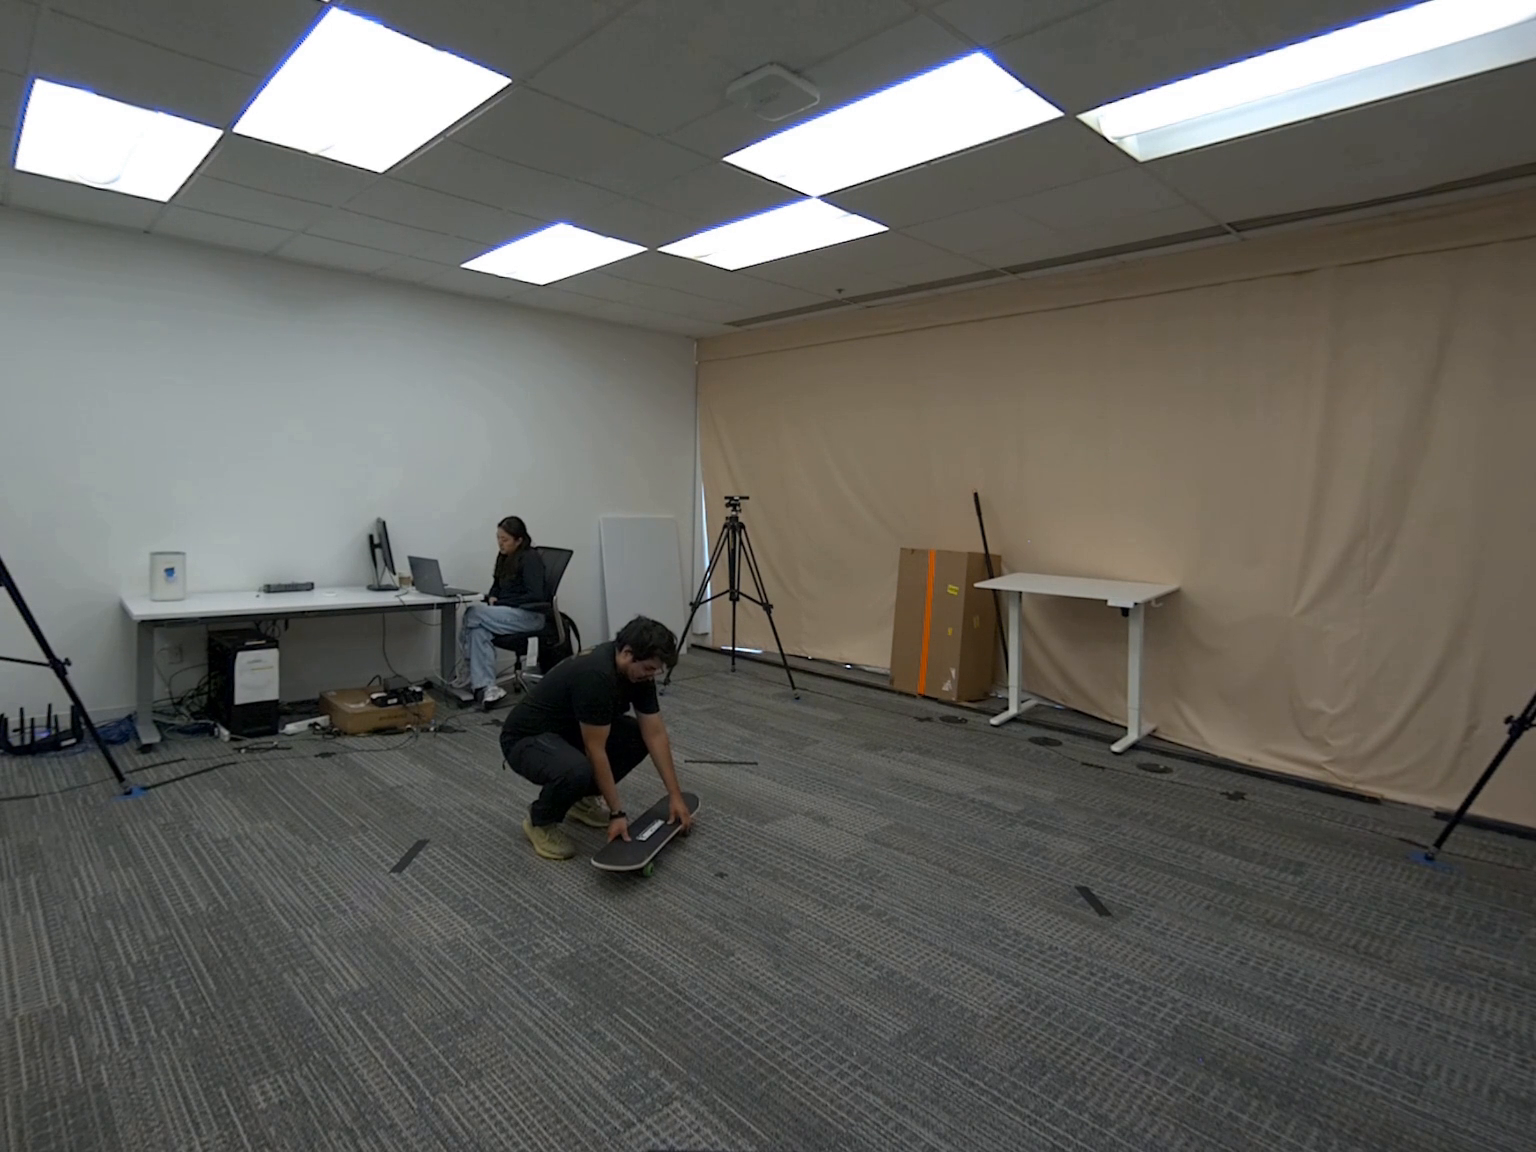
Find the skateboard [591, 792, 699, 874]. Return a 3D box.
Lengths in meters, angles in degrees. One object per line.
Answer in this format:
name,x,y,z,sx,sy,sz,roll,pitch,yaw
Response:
skateboard,-0.461,1.023,3.286,0.196,0.110,0.778,3,5,13
